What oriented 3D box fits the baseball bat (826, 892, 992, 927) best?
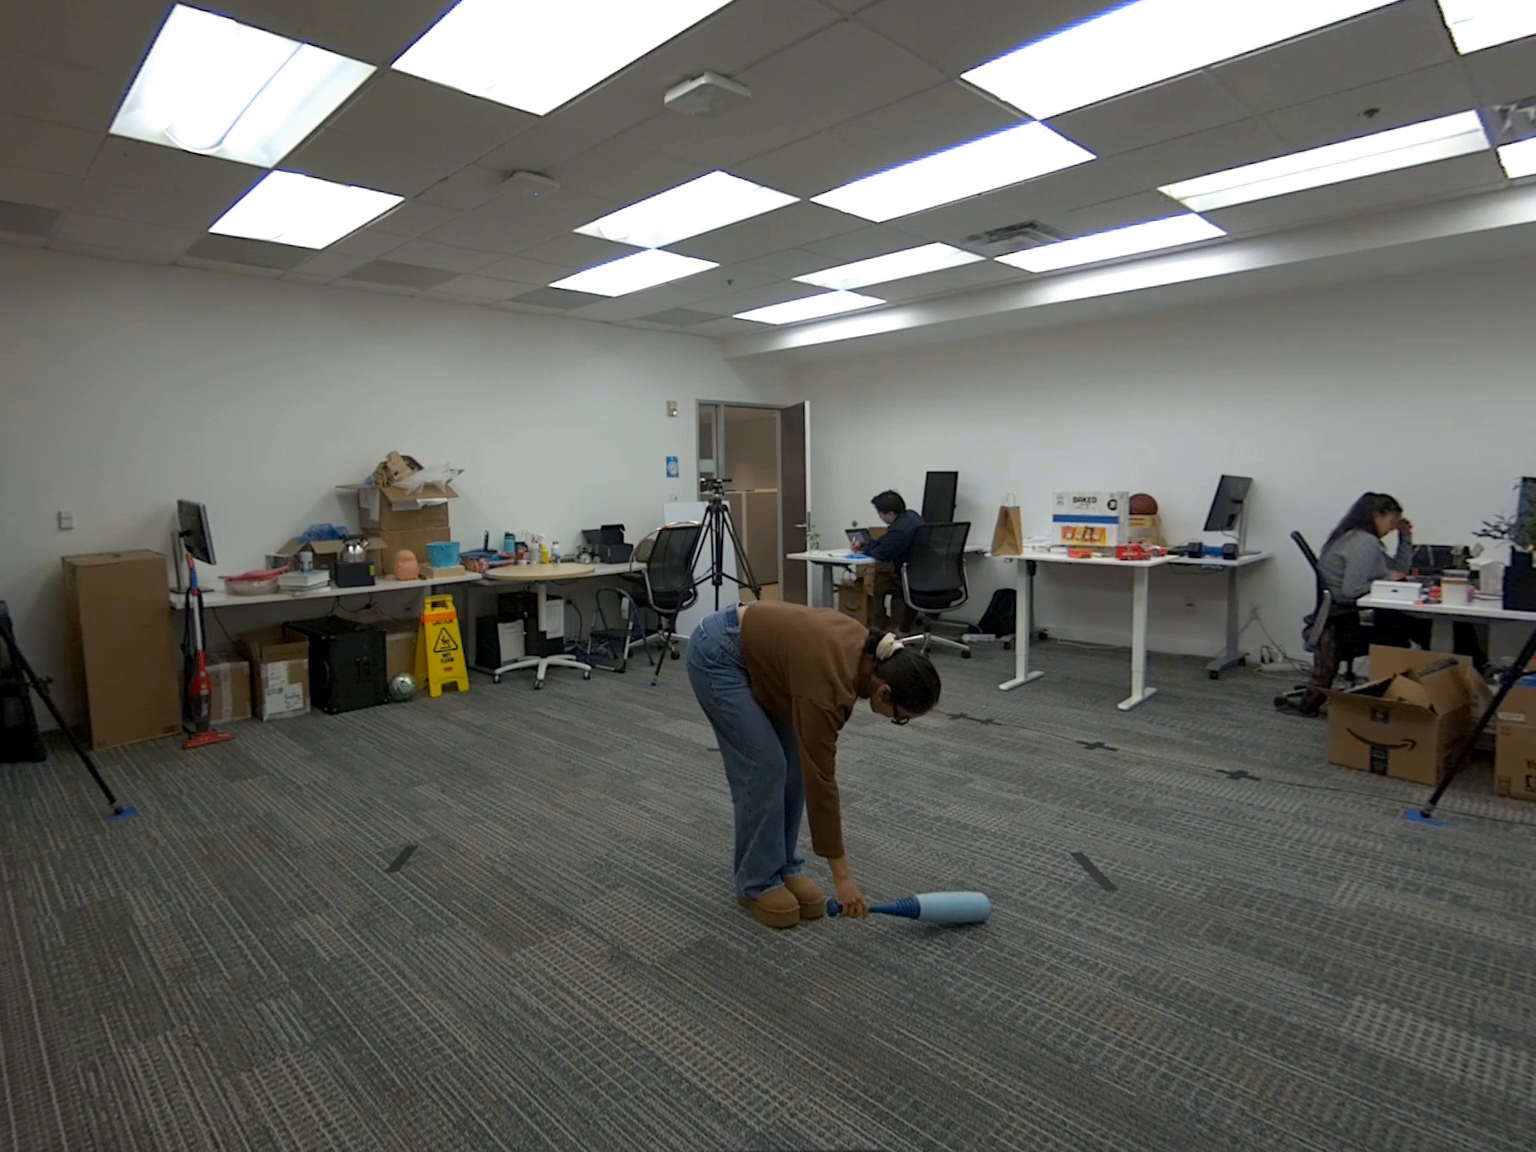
[{"bbox_3d":[0.431,1.014,2.609,0.534,0.089,0.091,5,3,-16],"label":"baseball bat"}]
